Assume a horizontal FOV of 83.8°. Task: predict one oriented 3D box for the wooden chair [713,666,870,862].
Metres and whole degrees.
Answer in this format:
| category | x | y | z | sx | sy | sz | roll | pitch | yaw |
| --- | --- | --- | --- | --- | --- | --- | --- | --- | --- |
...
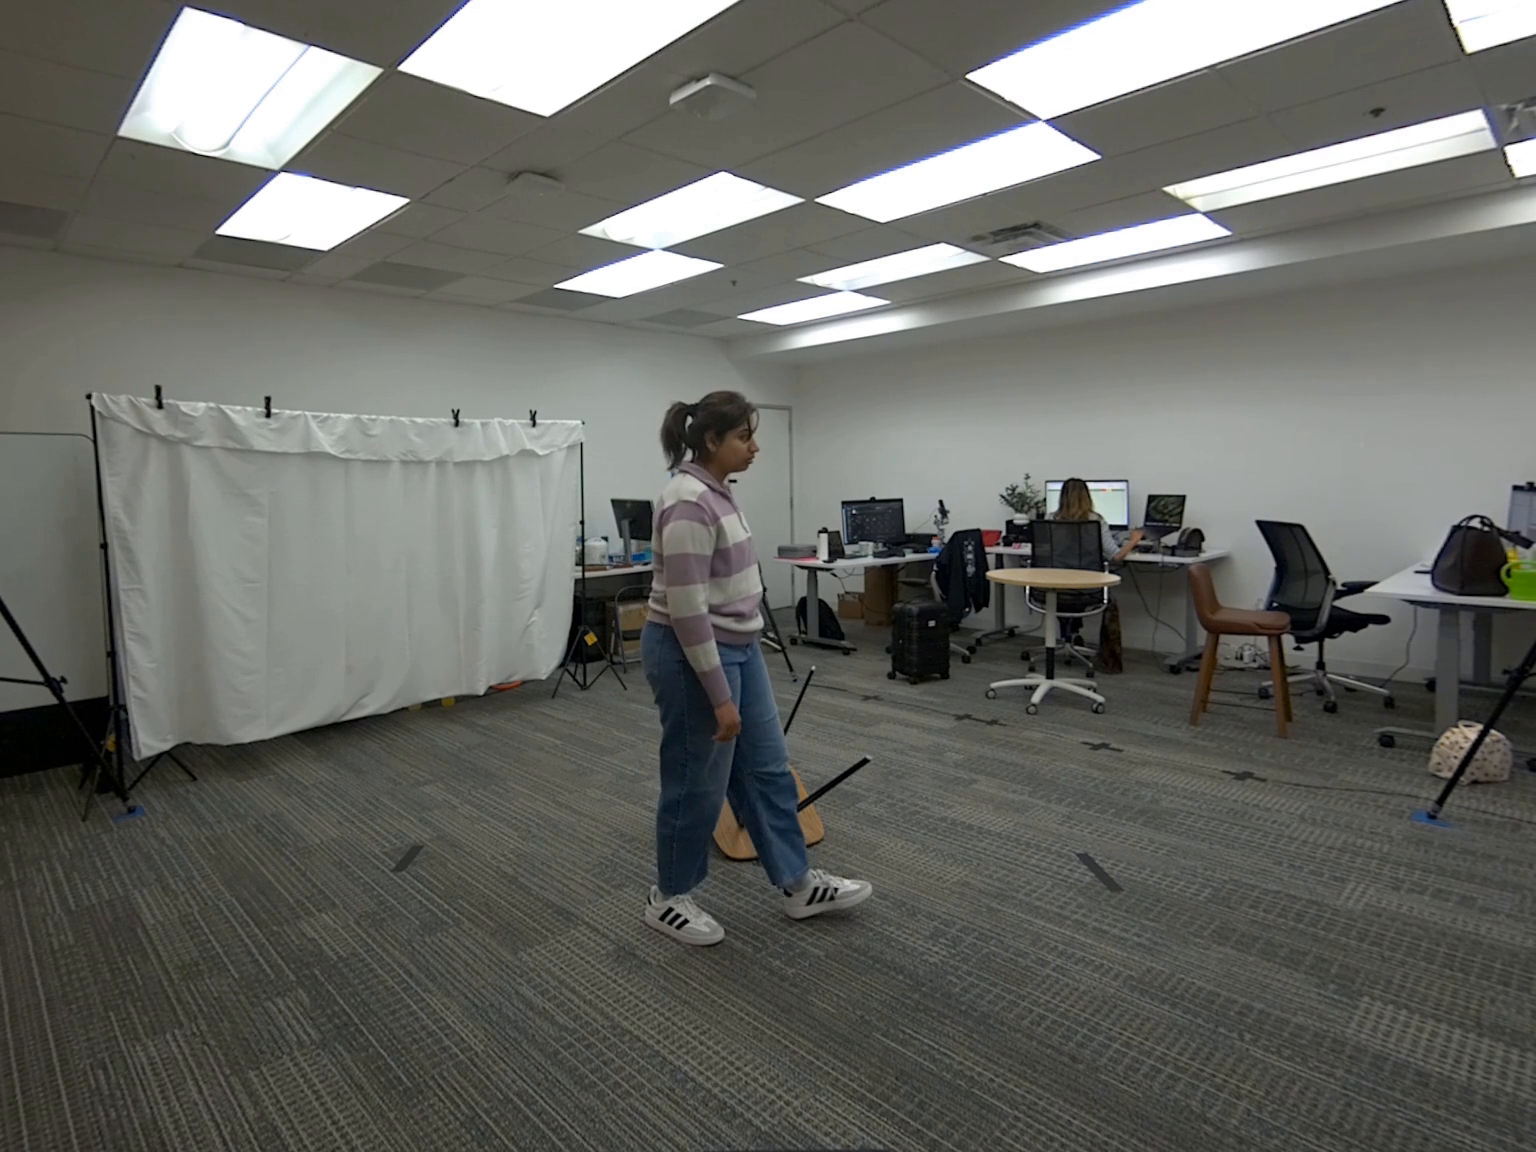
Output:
| category | x | y | z | sx | sy | sz | roll | pitch | yaw |
| --- | --- | --- | --- | --- | --- | --- | --- | --- | --- |
| wooden chair | -0.038 | 0.851 | 3.346 | 0.467 | 0.866 | 0.543 | -3 | 46 | -31 |
